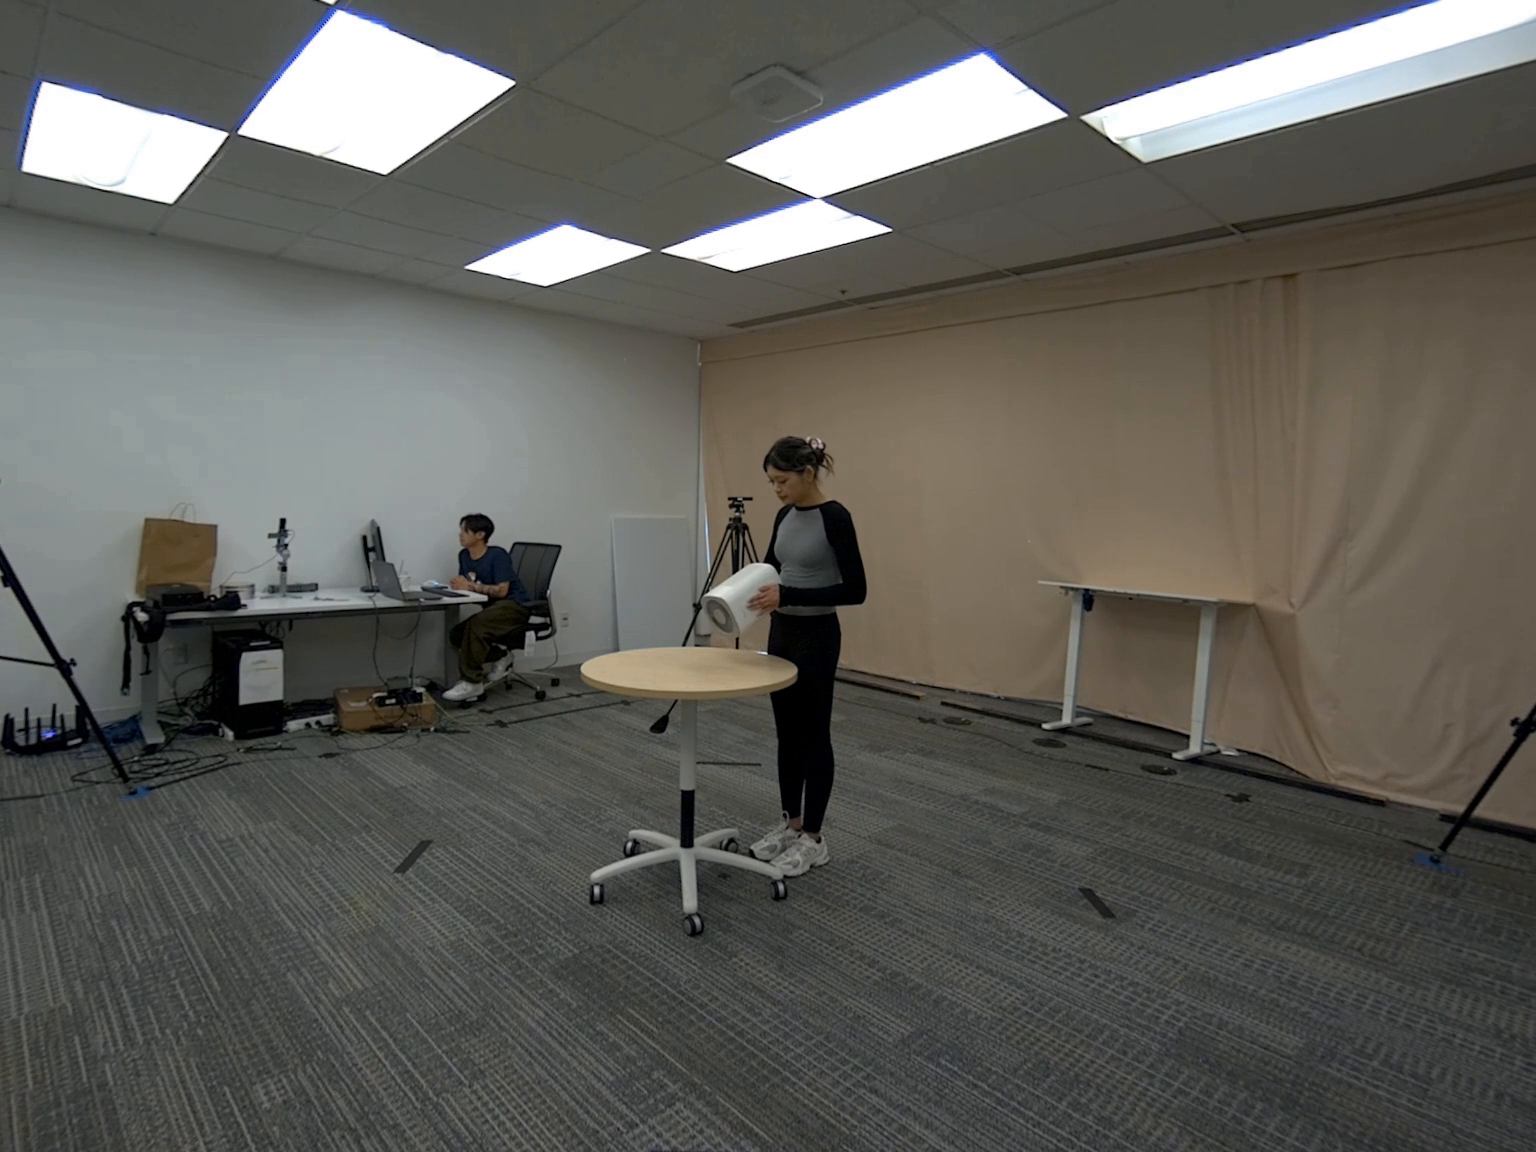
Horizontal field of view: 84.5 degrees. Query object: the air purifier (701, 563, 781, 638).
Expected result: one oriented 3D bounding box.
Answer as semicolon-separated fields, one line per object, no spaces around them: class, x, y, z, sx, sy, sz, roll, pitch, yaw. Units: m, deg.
air purifier;-0.095;0.083;3.062;0.264;0.168;0.175;-37;21;-35
